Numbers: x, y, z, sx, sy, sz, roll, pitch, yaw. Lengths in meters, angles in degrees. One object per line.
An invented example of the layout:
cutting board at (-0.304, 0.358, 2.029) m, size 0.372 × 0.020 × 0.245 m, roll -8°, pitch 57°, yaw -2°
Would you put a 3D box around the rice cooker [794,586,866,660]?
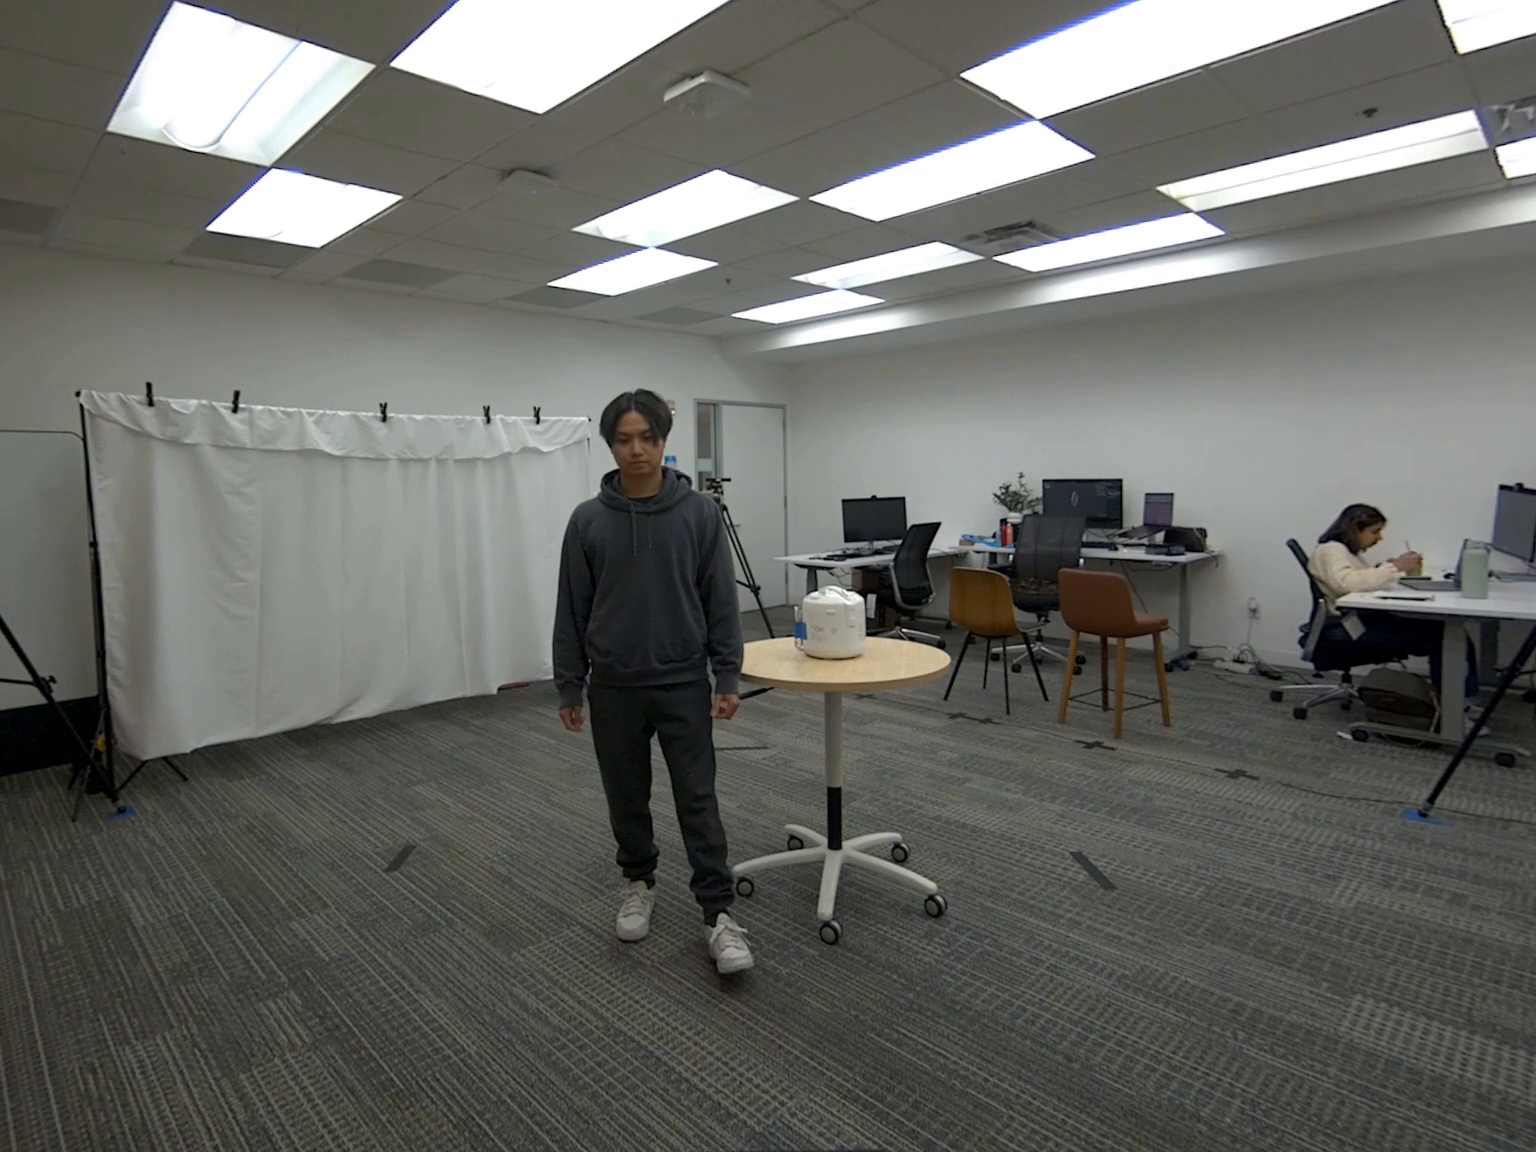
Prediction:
rice cooker at (0.226, 0.150, 2.874) m, size 0.213 × 0.232 × 0.226 m, roll -5°, pitch 6°, yaw -28°
